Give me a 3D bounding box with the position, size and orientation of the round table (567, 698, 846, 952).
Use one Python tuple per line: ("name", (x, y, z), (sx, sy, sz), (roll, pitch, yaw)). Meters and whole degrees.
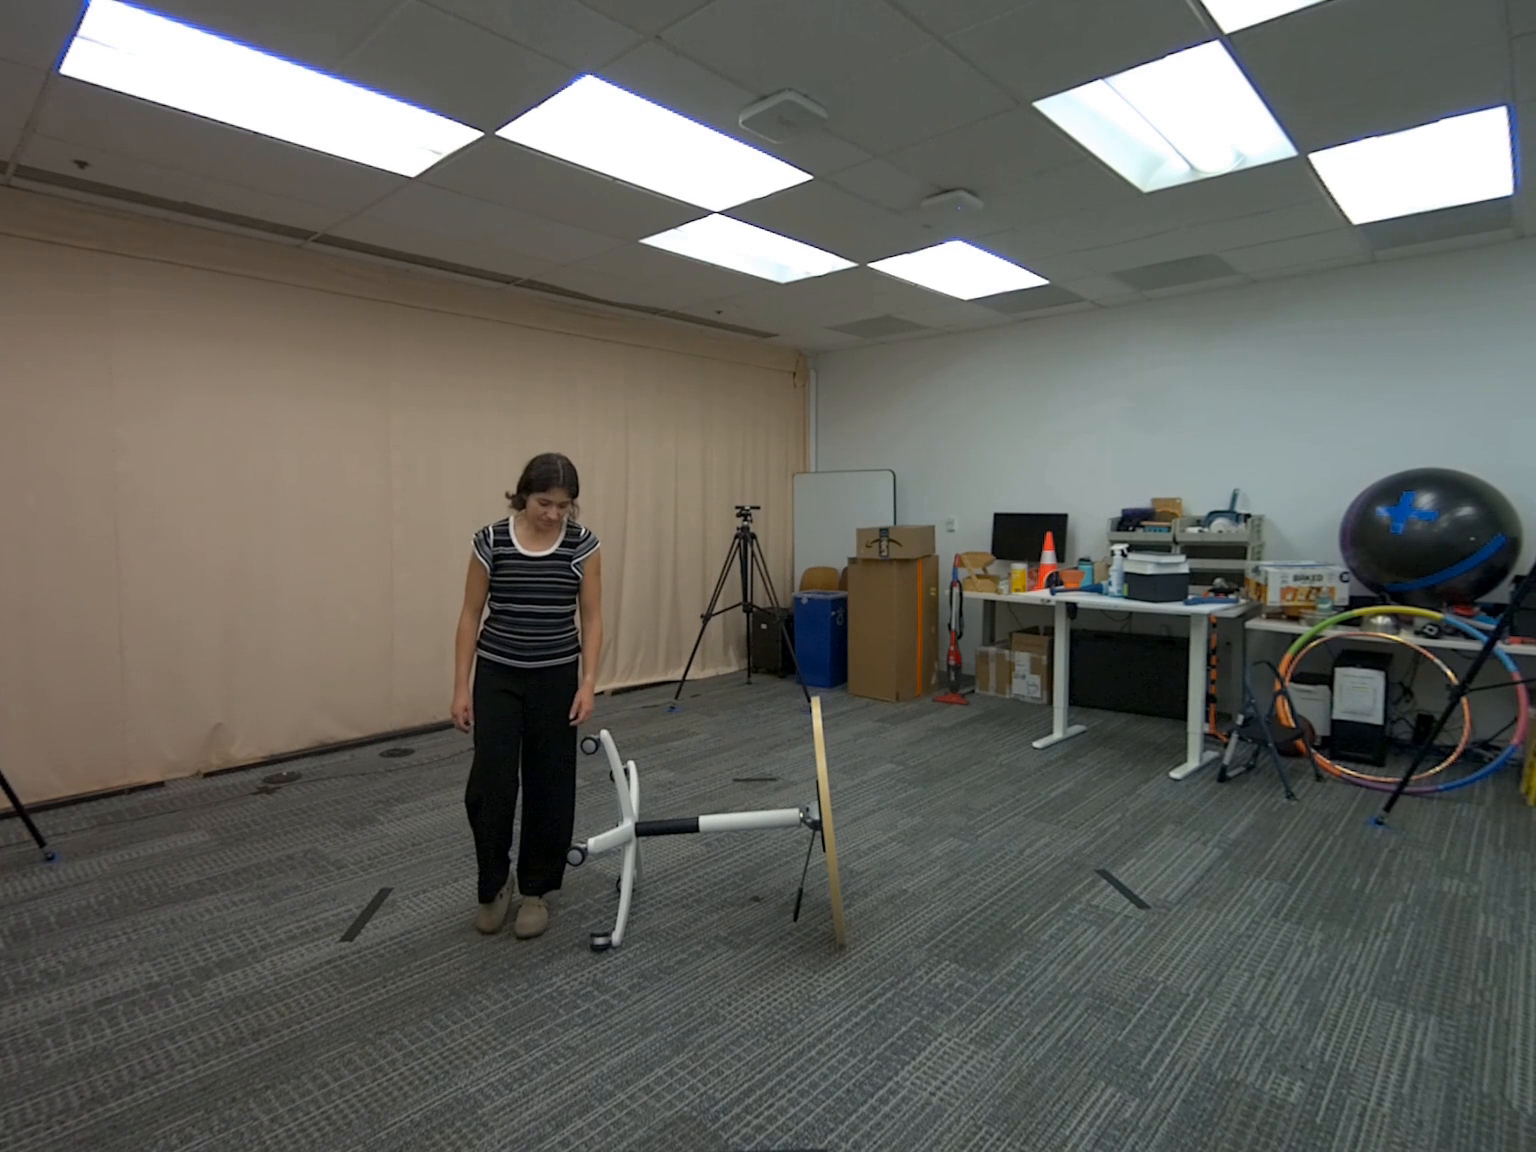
("round table", (-0.185, 0.826, 2.779), (0.791, 0.783, 0.782), (-7, 3, 5))
